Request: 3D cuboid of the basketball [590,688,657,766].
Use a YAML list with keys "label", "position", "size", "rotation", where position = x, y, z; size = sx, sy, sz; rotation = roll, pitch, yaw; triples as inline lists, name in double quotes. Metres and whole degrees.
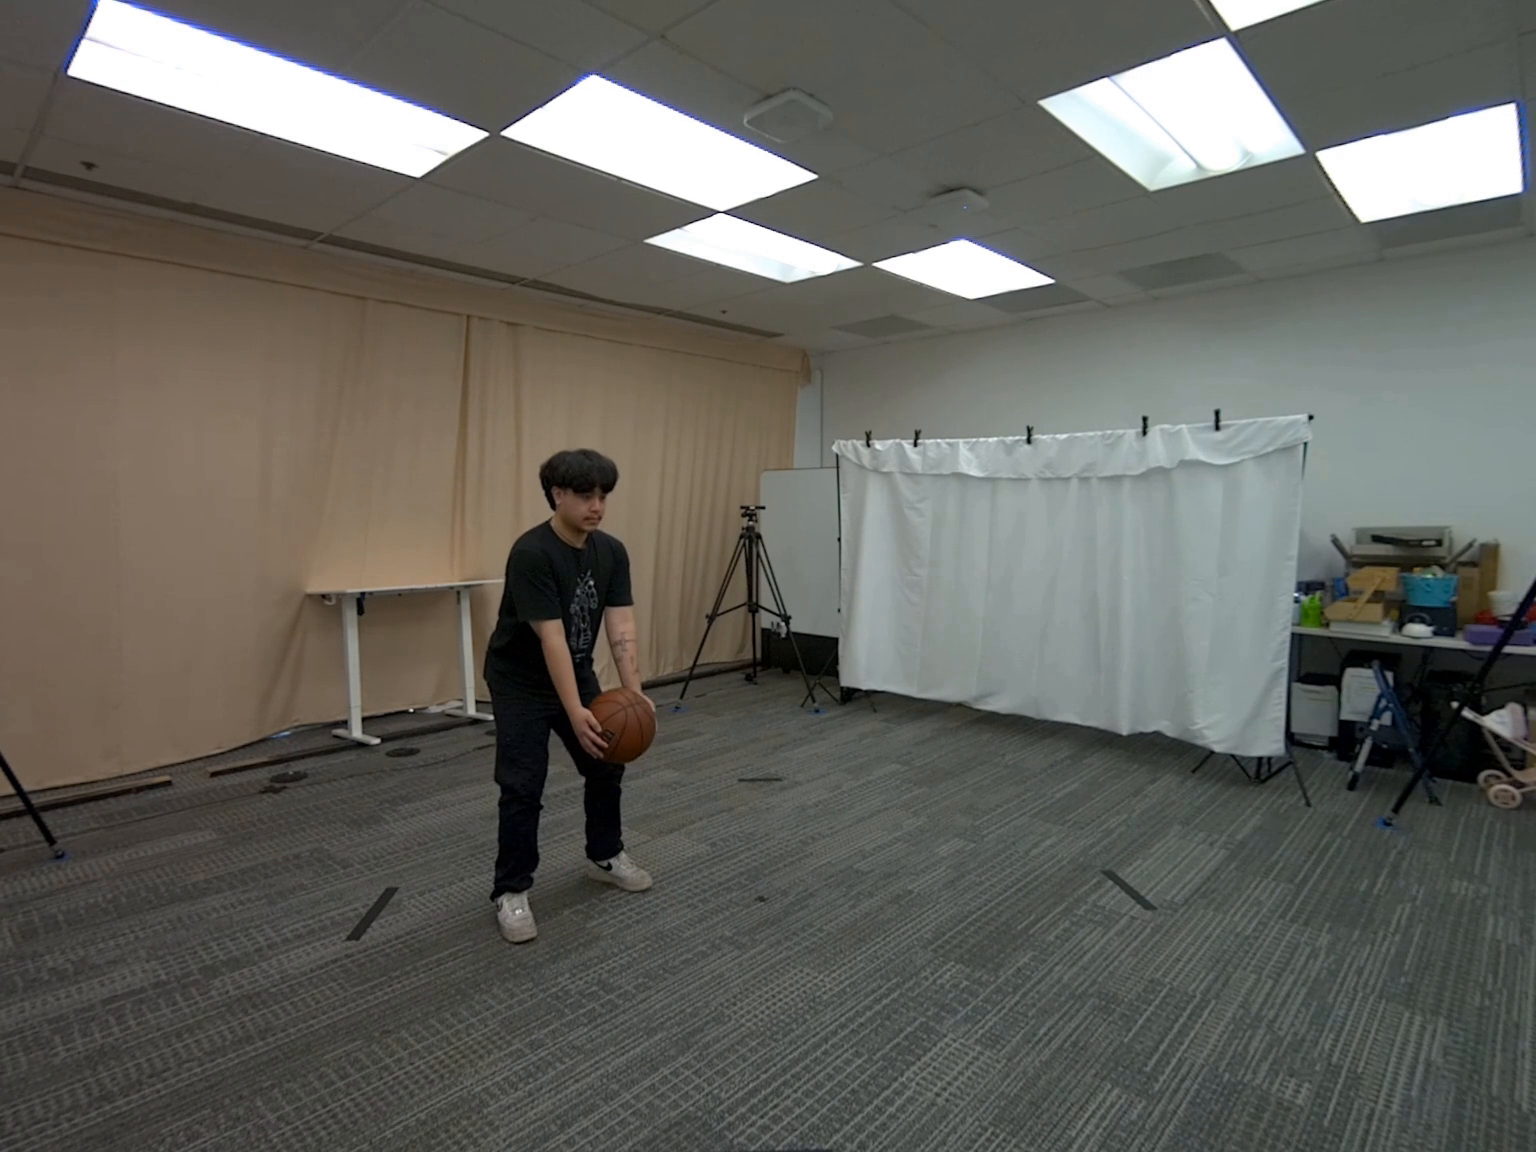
- label: "basketball"
  position: [-0.485, 0.492, 2.722]
  size: [0.236, 0.235, 0.237]
  rotation: [0, 4, -2]
